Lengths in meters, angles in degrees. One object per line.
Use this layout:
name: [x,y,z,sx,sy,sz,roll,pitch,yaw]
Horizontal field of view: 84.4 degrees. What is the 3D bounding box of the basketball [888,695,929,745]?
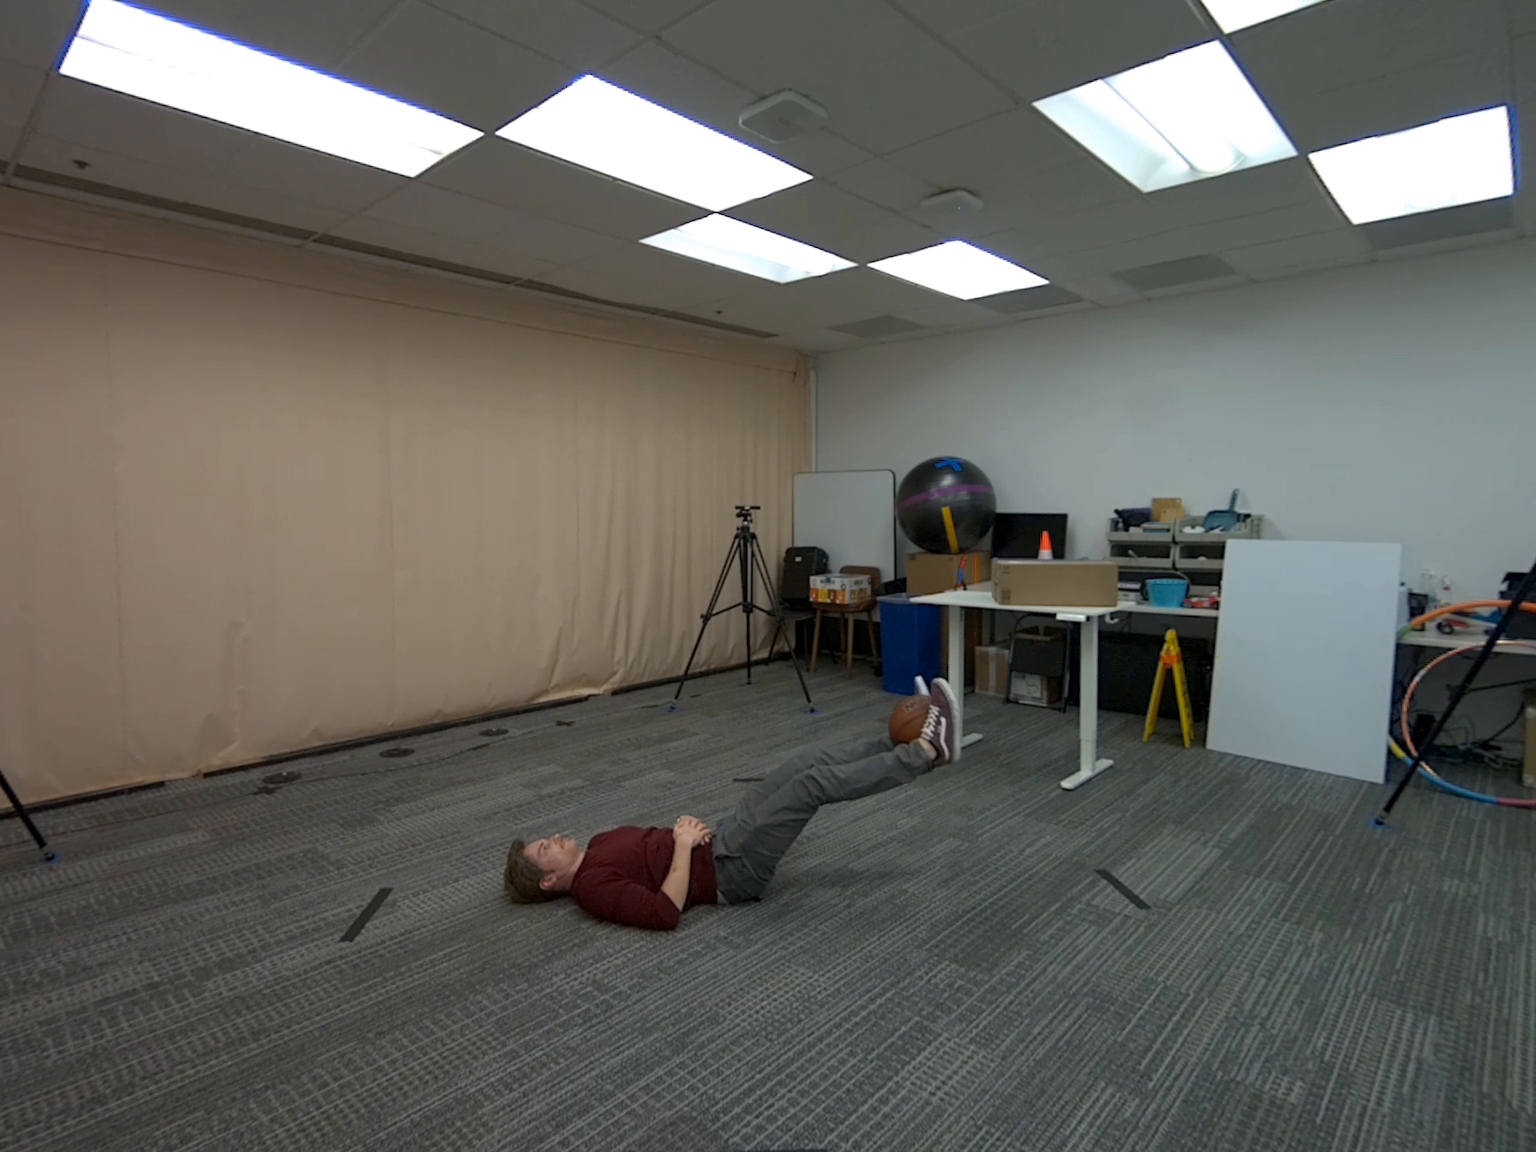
basketball: [0.556,0.543,3.034,0.235,0.235,0.237,3,5,-2]
